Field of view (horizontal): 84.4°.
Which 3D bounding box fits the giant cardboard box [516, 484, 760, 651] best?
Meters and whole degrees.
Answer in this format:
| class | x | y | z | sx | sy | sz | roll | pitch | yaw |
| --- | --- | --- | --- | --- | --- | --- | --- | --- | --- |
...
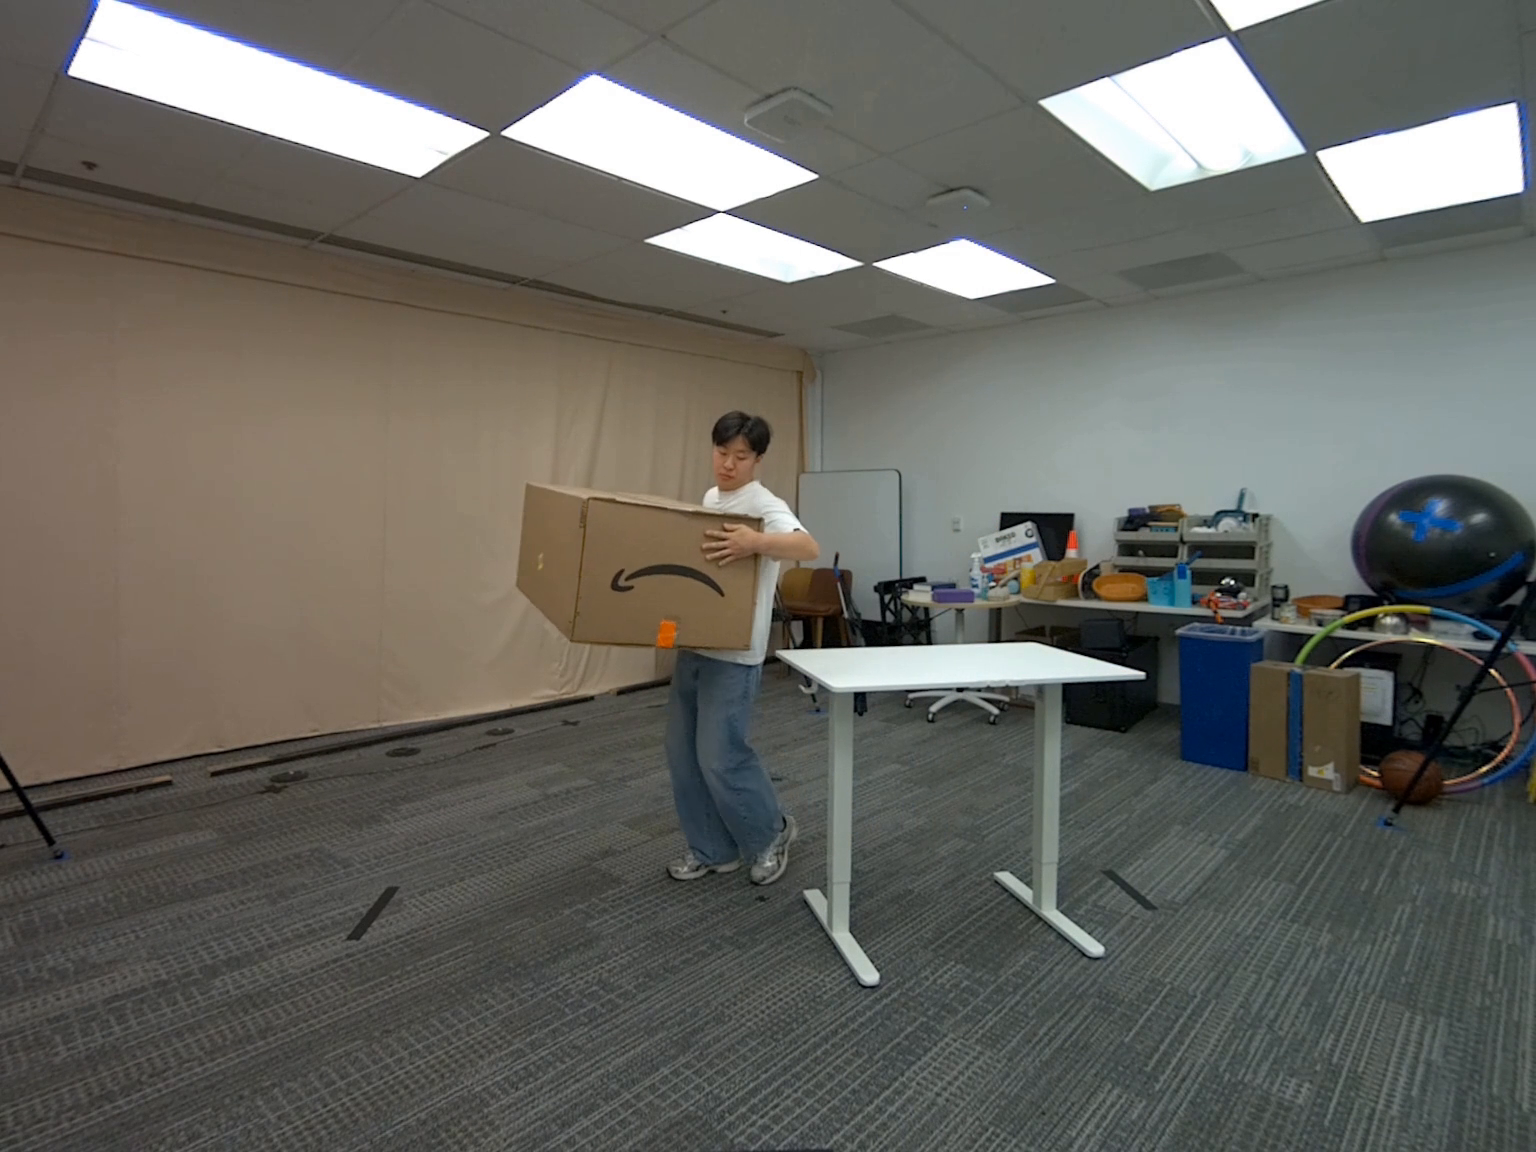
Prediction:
| class | x | y | z | sx | sy | sz | roll | pitch | yaw |
| --- | --- | --- | --- | --- | --- | --- | --- | --- | --- |
| giant cardboard box | -0.508 | -0.062 | 2.990 | 0.563 | 0.425 | 1.054 | 5 | 6 | -25 |
